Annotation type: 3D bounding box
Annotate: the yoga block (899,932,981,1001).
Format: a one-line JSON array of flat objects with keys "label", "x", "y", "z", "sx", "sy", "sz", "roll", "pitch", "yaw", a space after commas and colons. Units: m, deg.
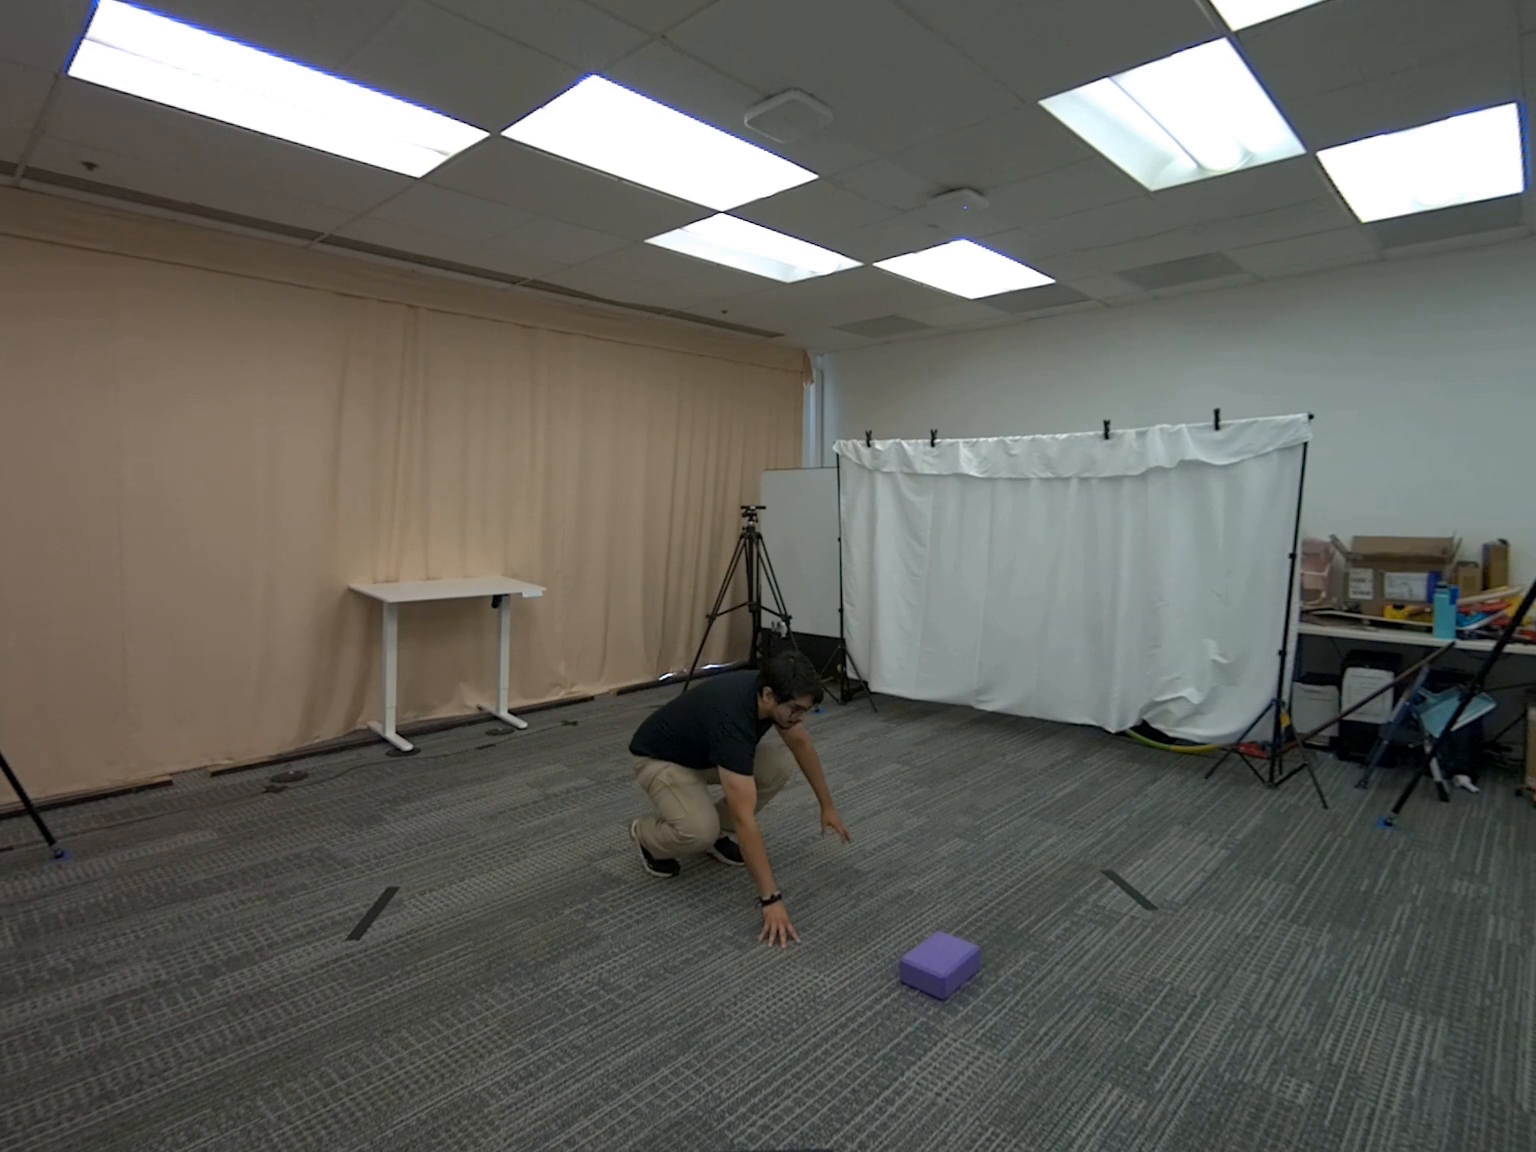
[{"label": "yoga block", "x": 0.515, "y": 1.145, "z": 2.484, "sx": 0.154, "sy": 0.076, "sz": 0.222, "roll": 4, "pitch": 7, "yaw": 41}]
